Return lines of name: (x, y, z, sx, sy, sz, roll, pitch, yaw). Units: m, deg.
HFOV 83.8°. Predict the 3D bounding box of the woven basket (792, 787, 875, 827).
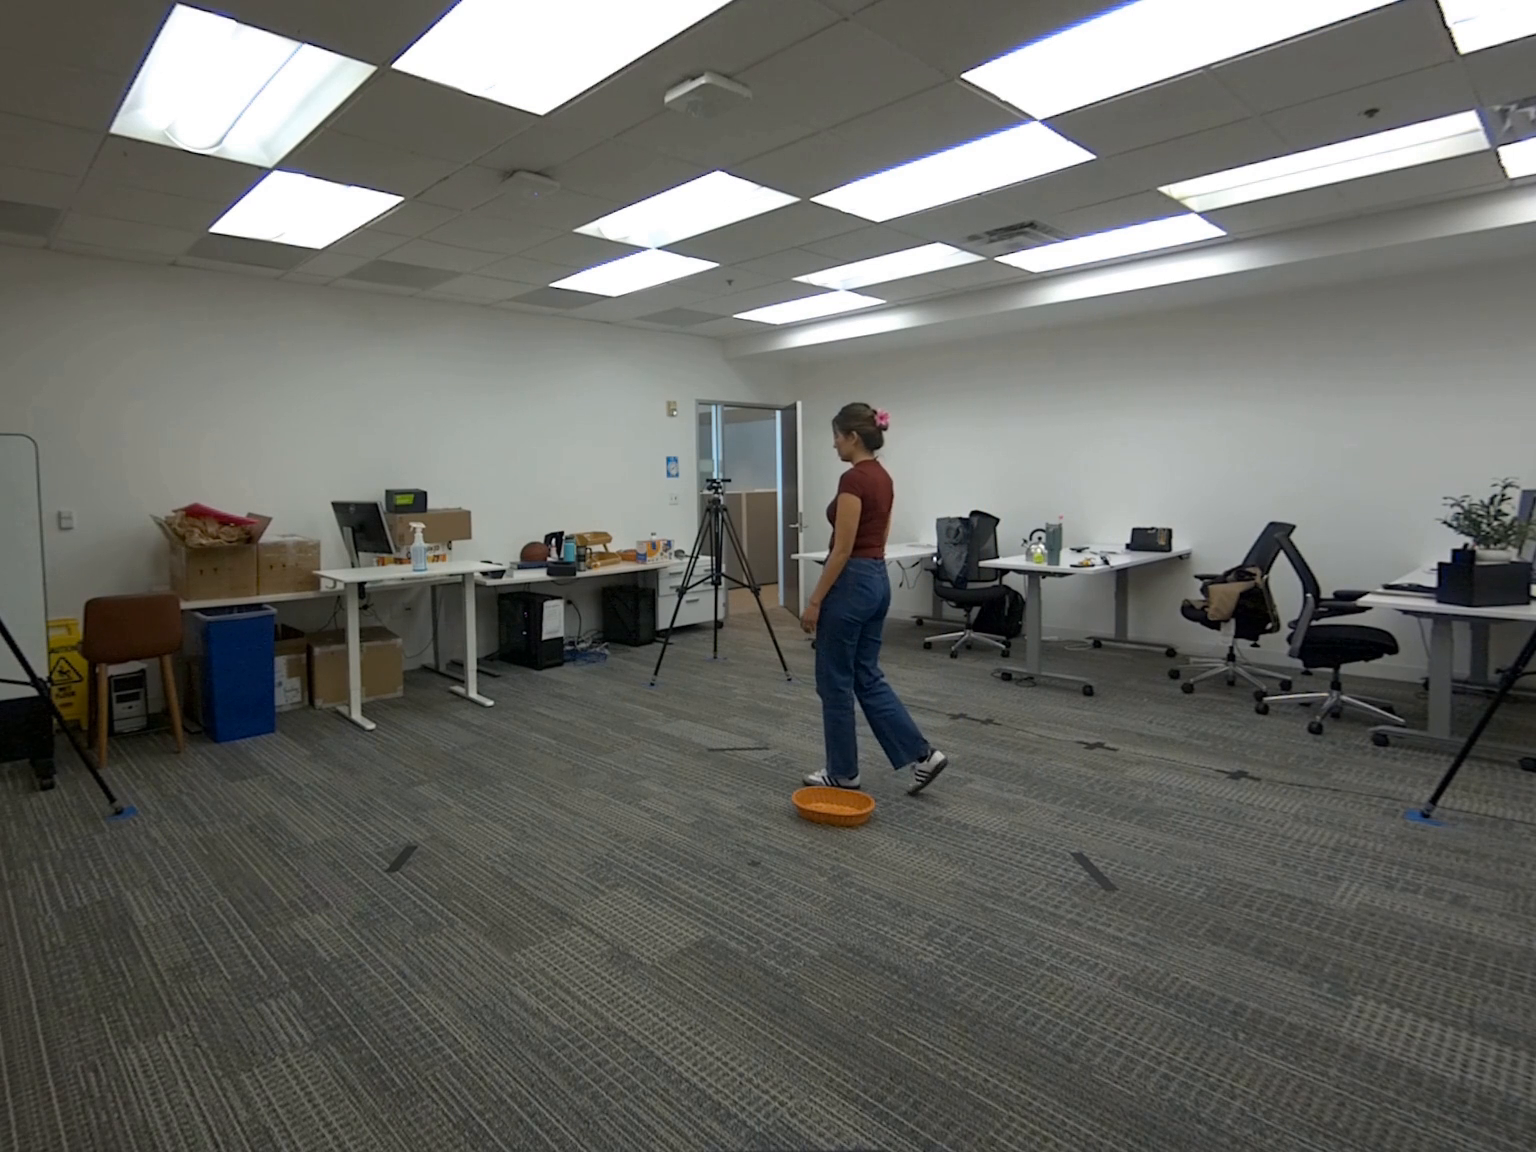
woven basket: (0.267, 0.955, 3.521, 0.359, 0.073, 0.248, 3, 9, 28)
